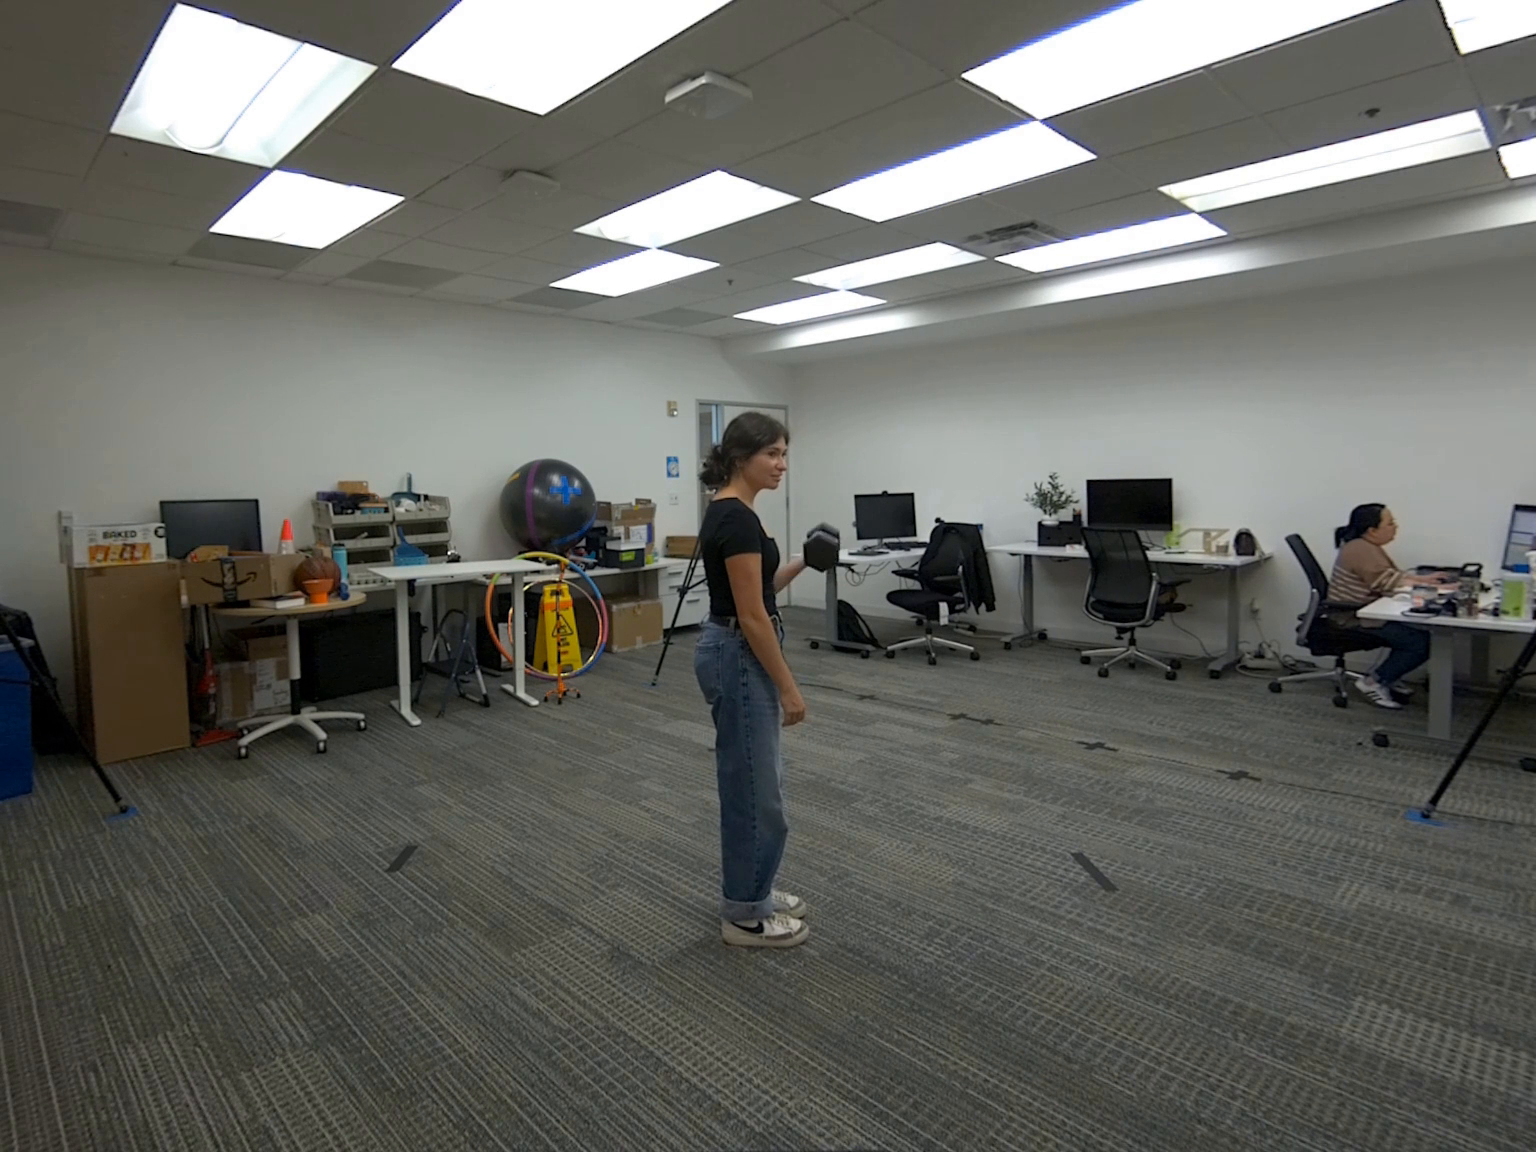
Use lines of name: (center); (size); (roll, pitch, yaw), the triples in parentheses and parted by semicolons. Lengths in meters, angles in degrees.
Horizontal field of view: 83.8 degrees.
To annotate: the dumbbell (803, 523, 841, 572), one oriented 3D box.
dumbbell: (0.174, -0.088, 2.740); (0.123, 0.108, 0.294); (-34, 6, 10)
